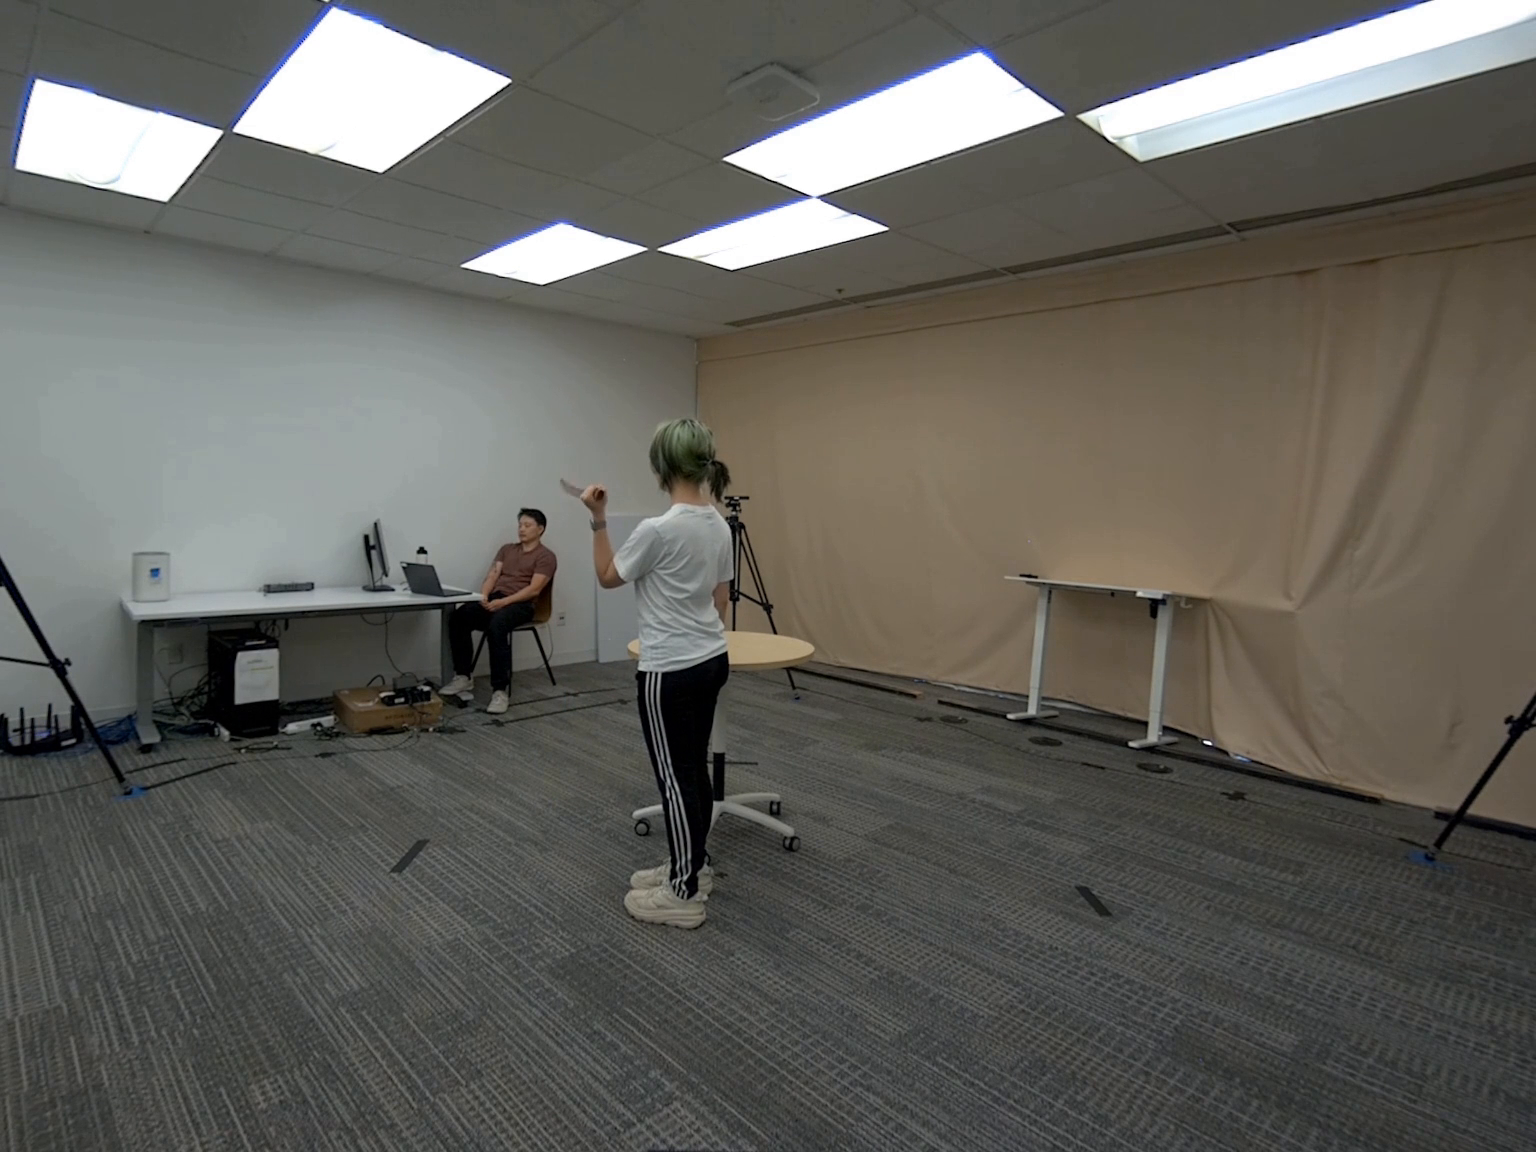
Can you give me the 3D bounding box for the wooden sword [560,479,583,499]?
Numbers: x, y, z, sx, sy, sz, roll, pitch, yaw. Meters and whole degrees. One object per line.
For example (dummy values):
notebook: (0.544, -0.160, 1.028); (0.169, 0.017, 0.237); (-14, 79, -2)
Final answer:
wooden sword: (-0.735, -0.304, 3.104); (0.024, 0.050, 1.043); (-24, 15, -12)
